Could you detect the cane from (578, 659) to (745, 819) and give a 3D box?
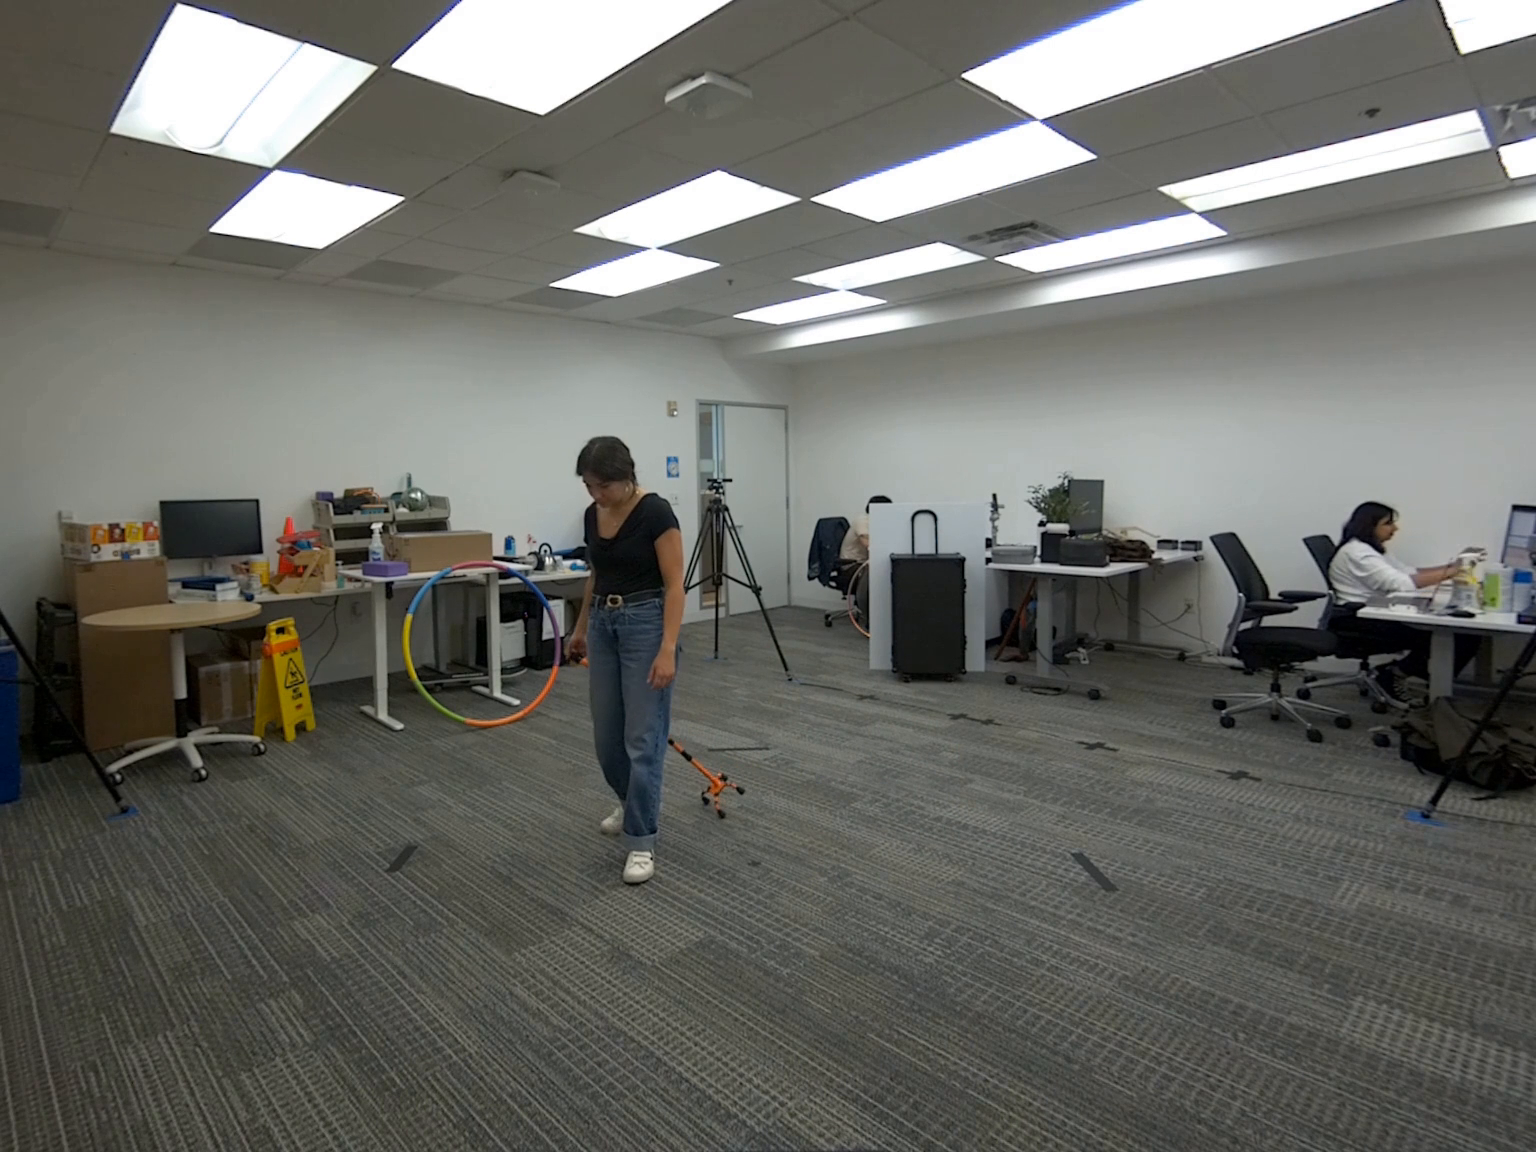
[{"bbox_3d":[-0.471,0.627,3.502,0.151,0.889,0.211,-48,17,-15],"label":"cane"}]
